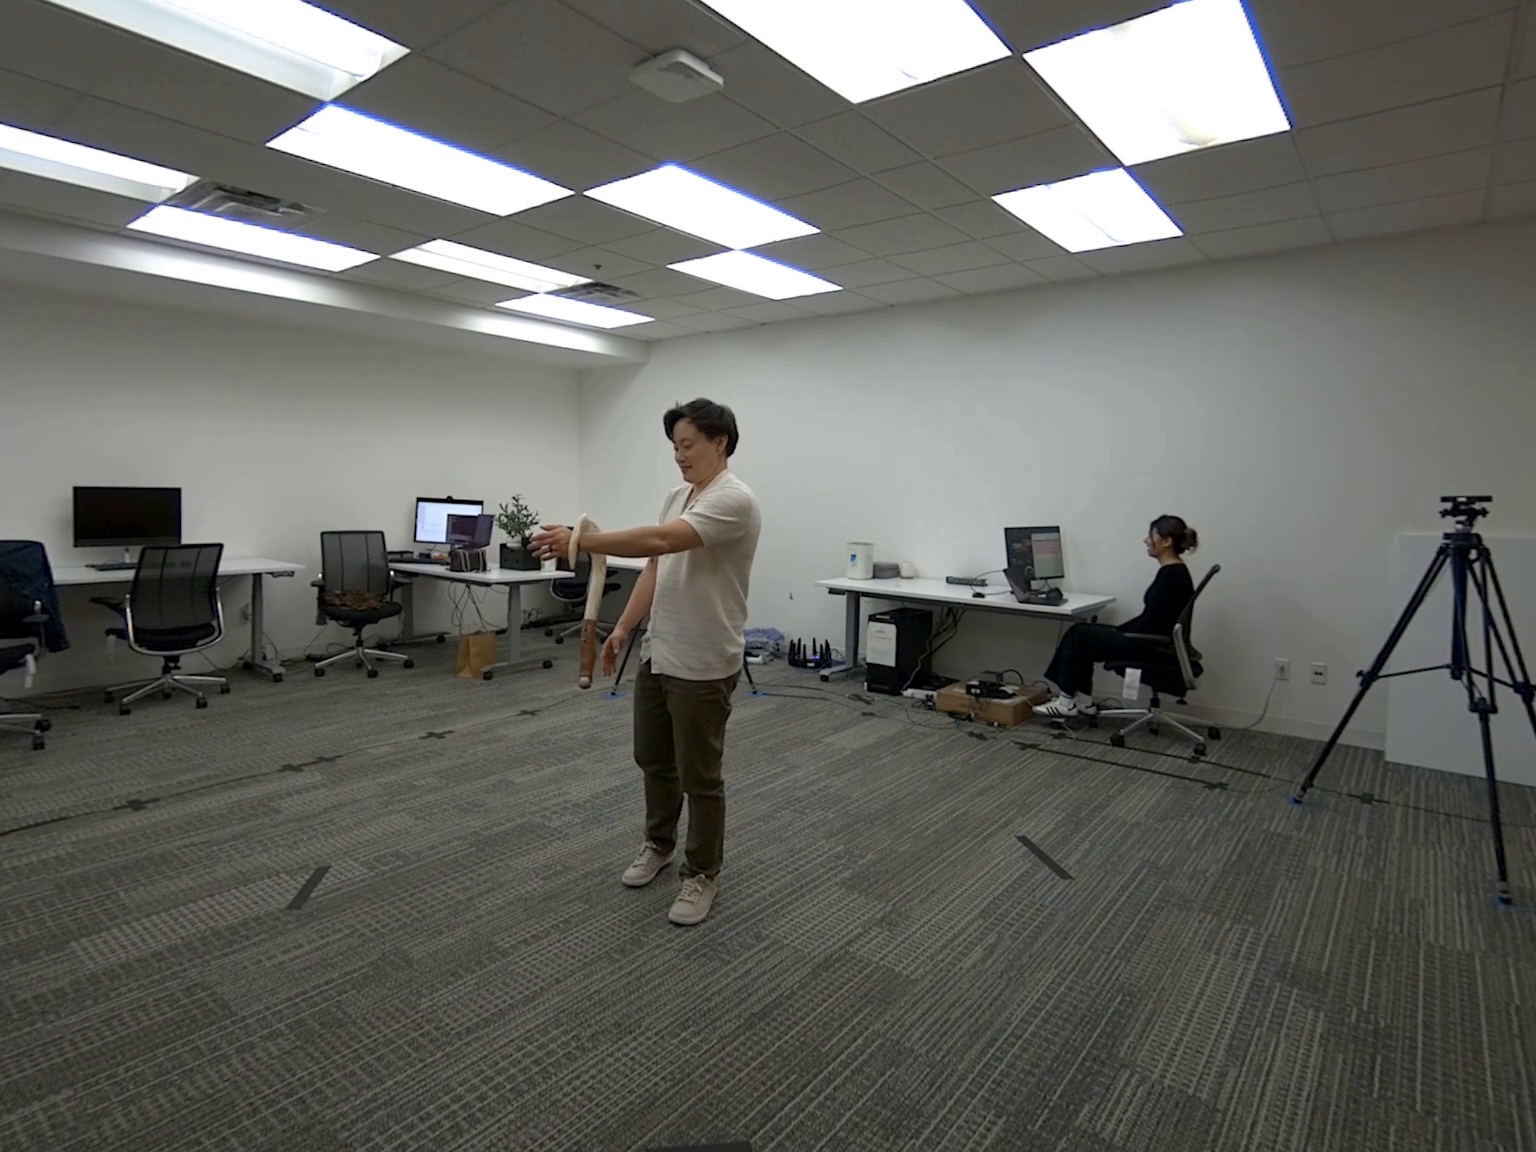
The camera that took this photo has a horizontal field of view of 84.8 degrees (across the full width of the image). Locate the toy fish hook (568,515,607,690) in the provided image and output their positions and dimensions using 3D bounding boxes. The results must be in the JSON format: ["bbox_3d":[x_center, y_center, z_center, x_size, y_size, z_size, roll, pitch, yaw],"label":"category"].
[{"bbox_3d":[-0.539,0.063,2.466,0.049,0.518,0.216,-9,-28,18],"label":"toy fish hook"}]
